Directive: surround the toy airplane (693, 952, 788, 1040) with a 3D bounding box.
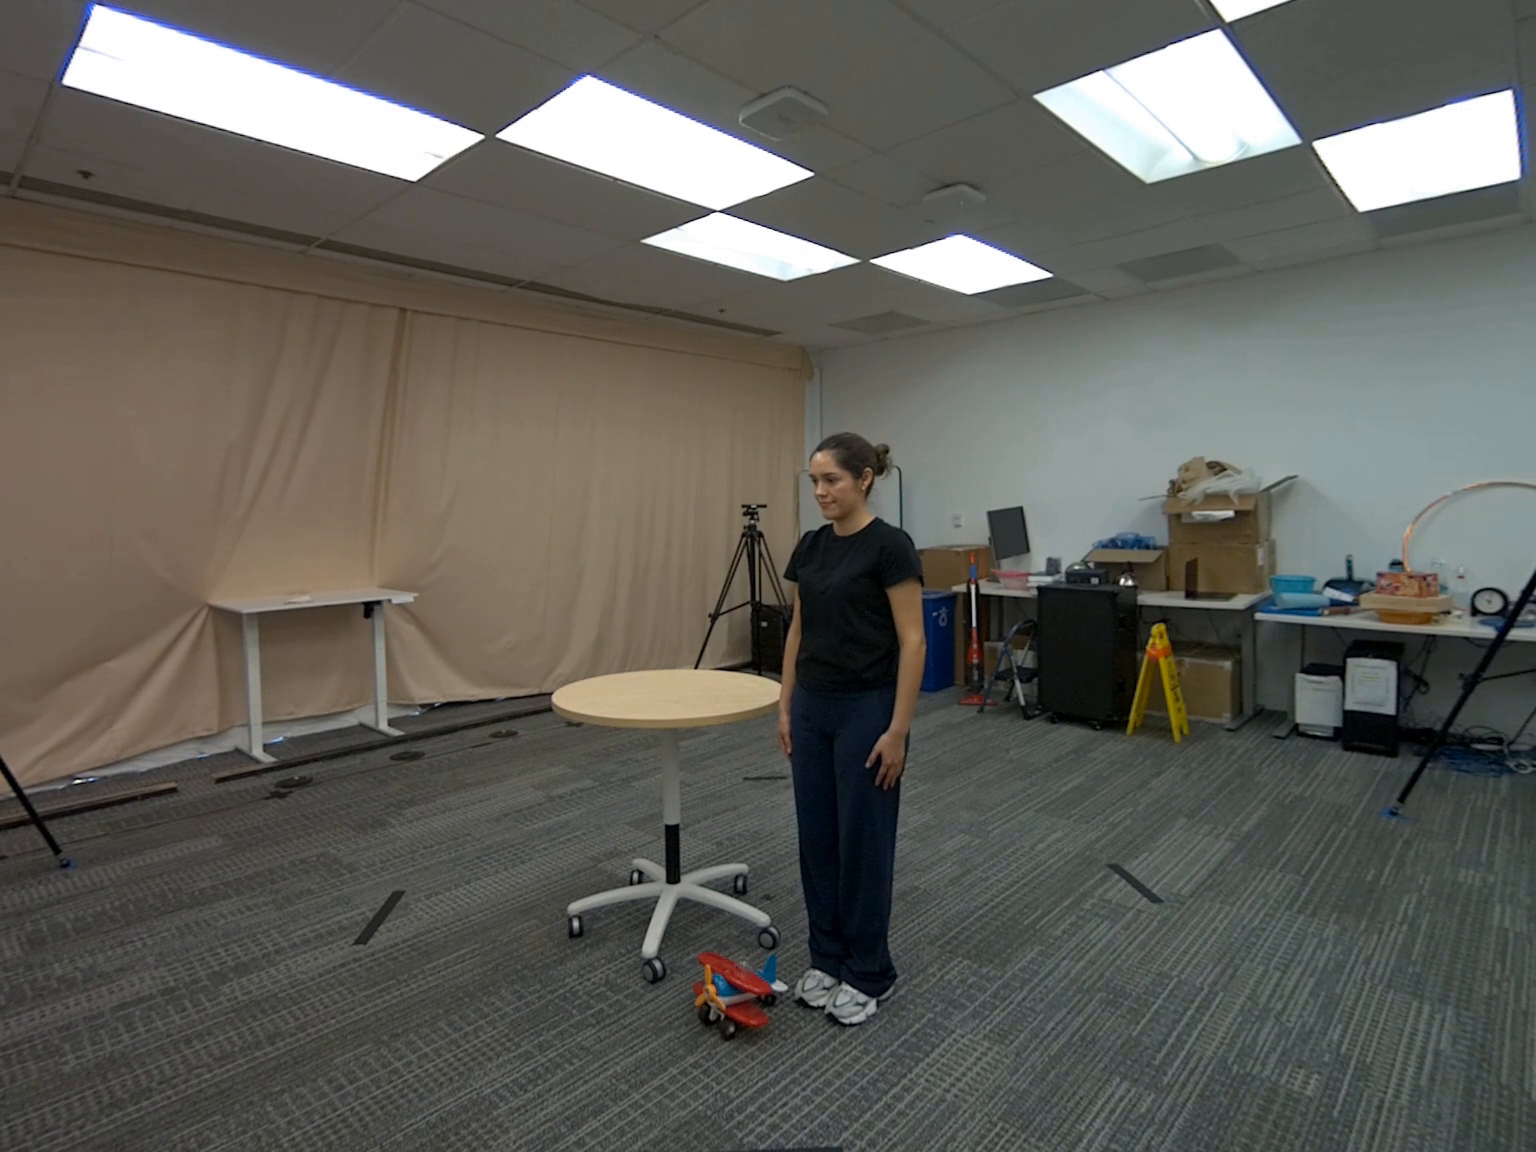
[{"bbox_3d":[-0.060,1.132,2.299,0.256,0.156,0.255,1,6,18],"label":"toy airplane"}]
